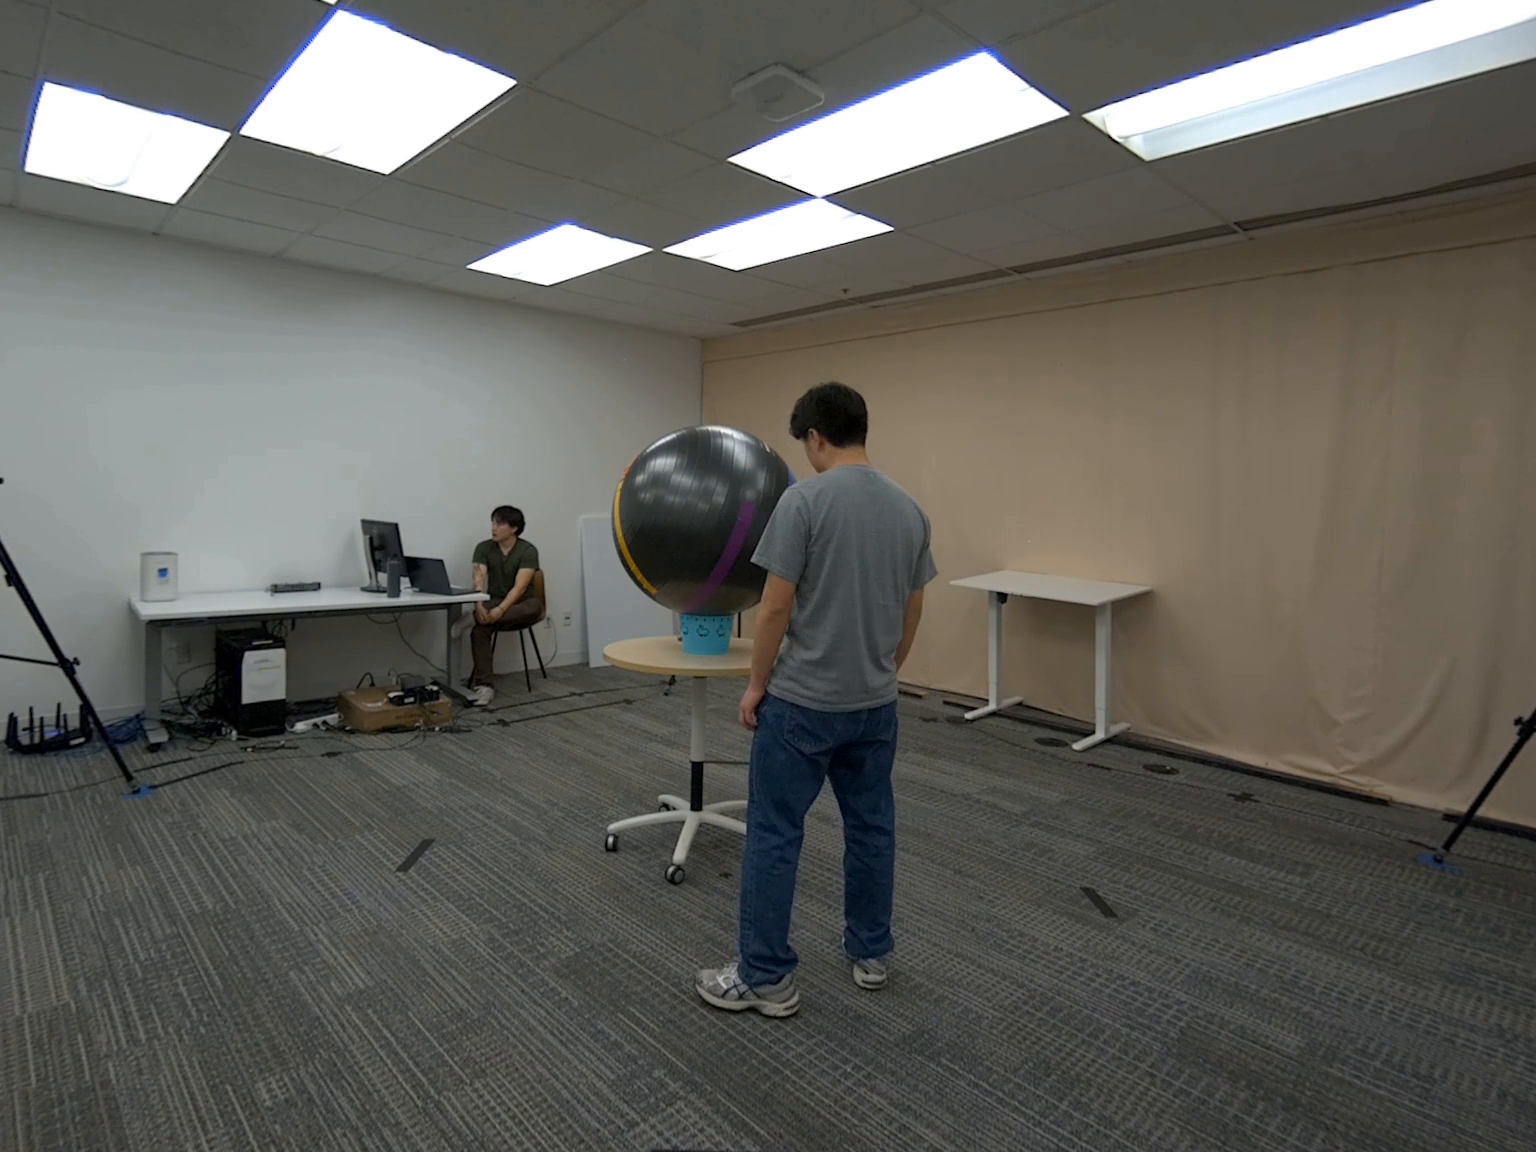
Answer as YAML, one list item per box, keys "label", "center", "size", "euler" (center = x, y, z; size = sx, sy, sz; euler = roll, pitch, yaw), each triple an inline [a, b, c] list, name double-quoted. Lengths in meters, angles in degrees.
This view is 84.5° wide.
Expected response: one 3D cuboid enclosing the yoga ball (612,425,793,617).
- label: "yoga ball"
  center: [-0.241, -0.213, 3.330]
  size: [0.757, 0.756, 0.761]
  euler: [1, 4, -1]
